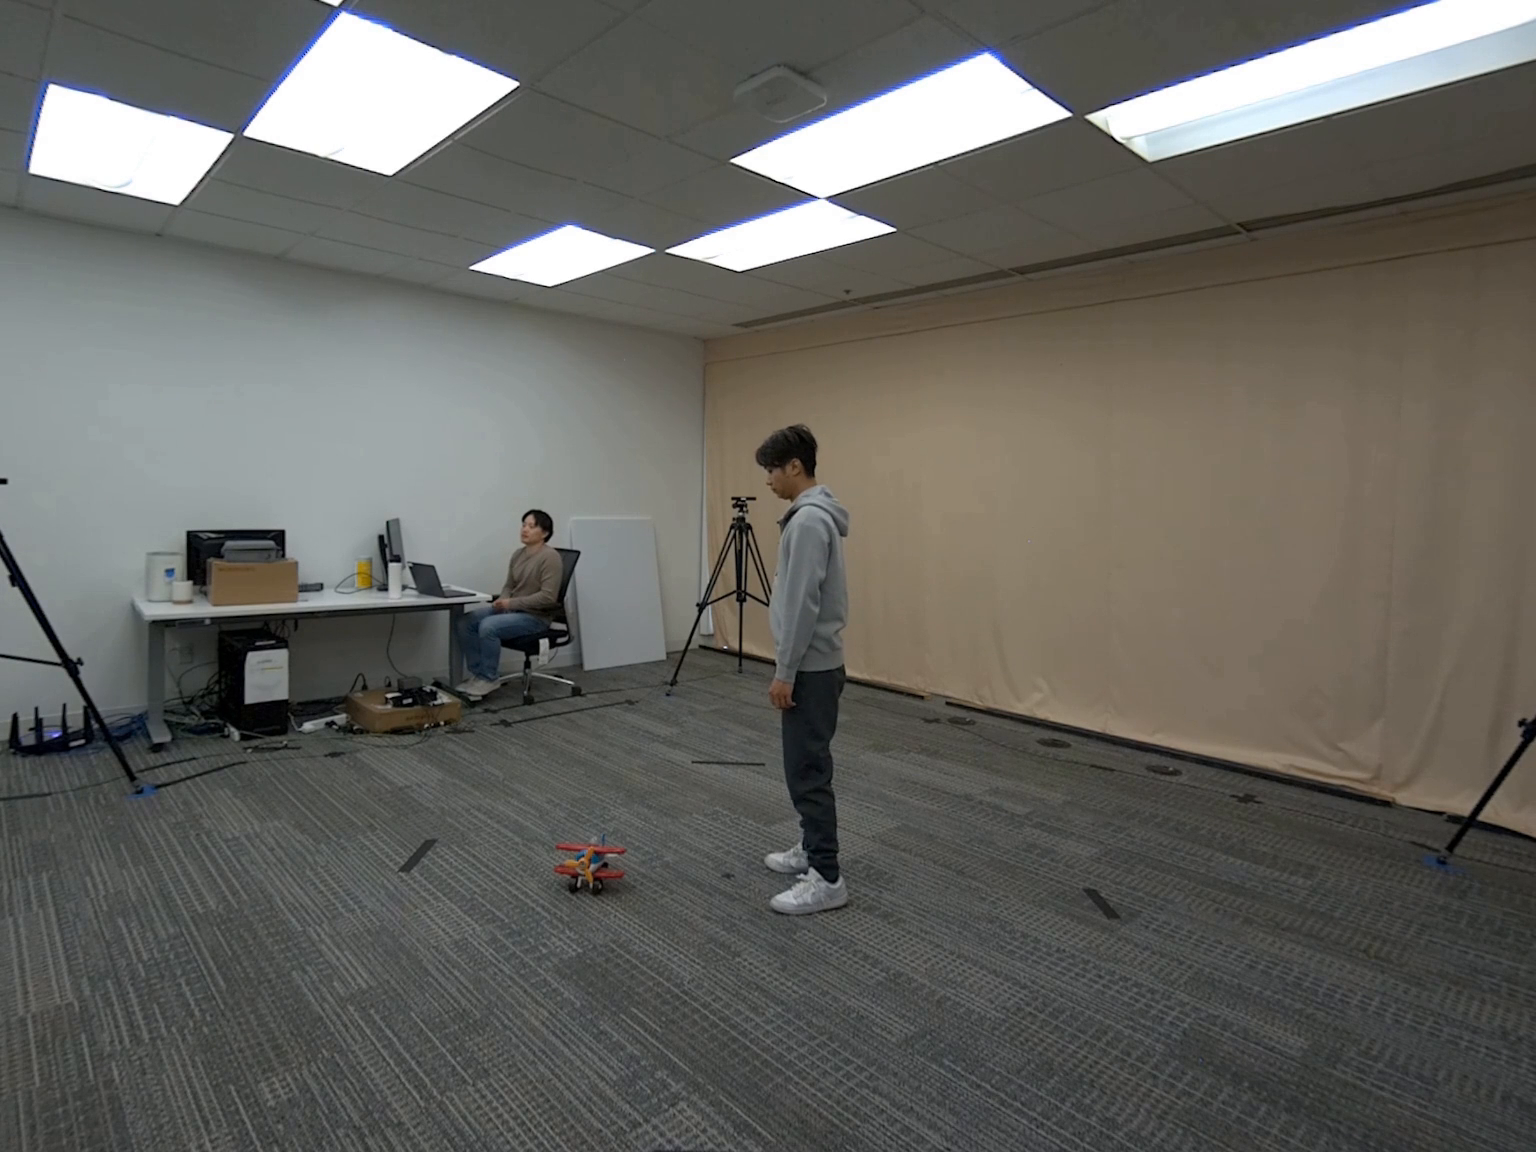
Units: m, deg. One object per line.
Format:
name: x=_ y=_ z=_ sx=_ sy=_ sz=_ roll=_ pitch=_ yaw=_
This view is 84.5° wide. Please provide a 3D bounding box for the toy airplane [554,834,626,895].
toy airplane: x=-0.652 y=1.028 z=3.028 sx=0.247 sy=0.156 sz=0.264 roll=-1 pitch=5 yaw=-23
